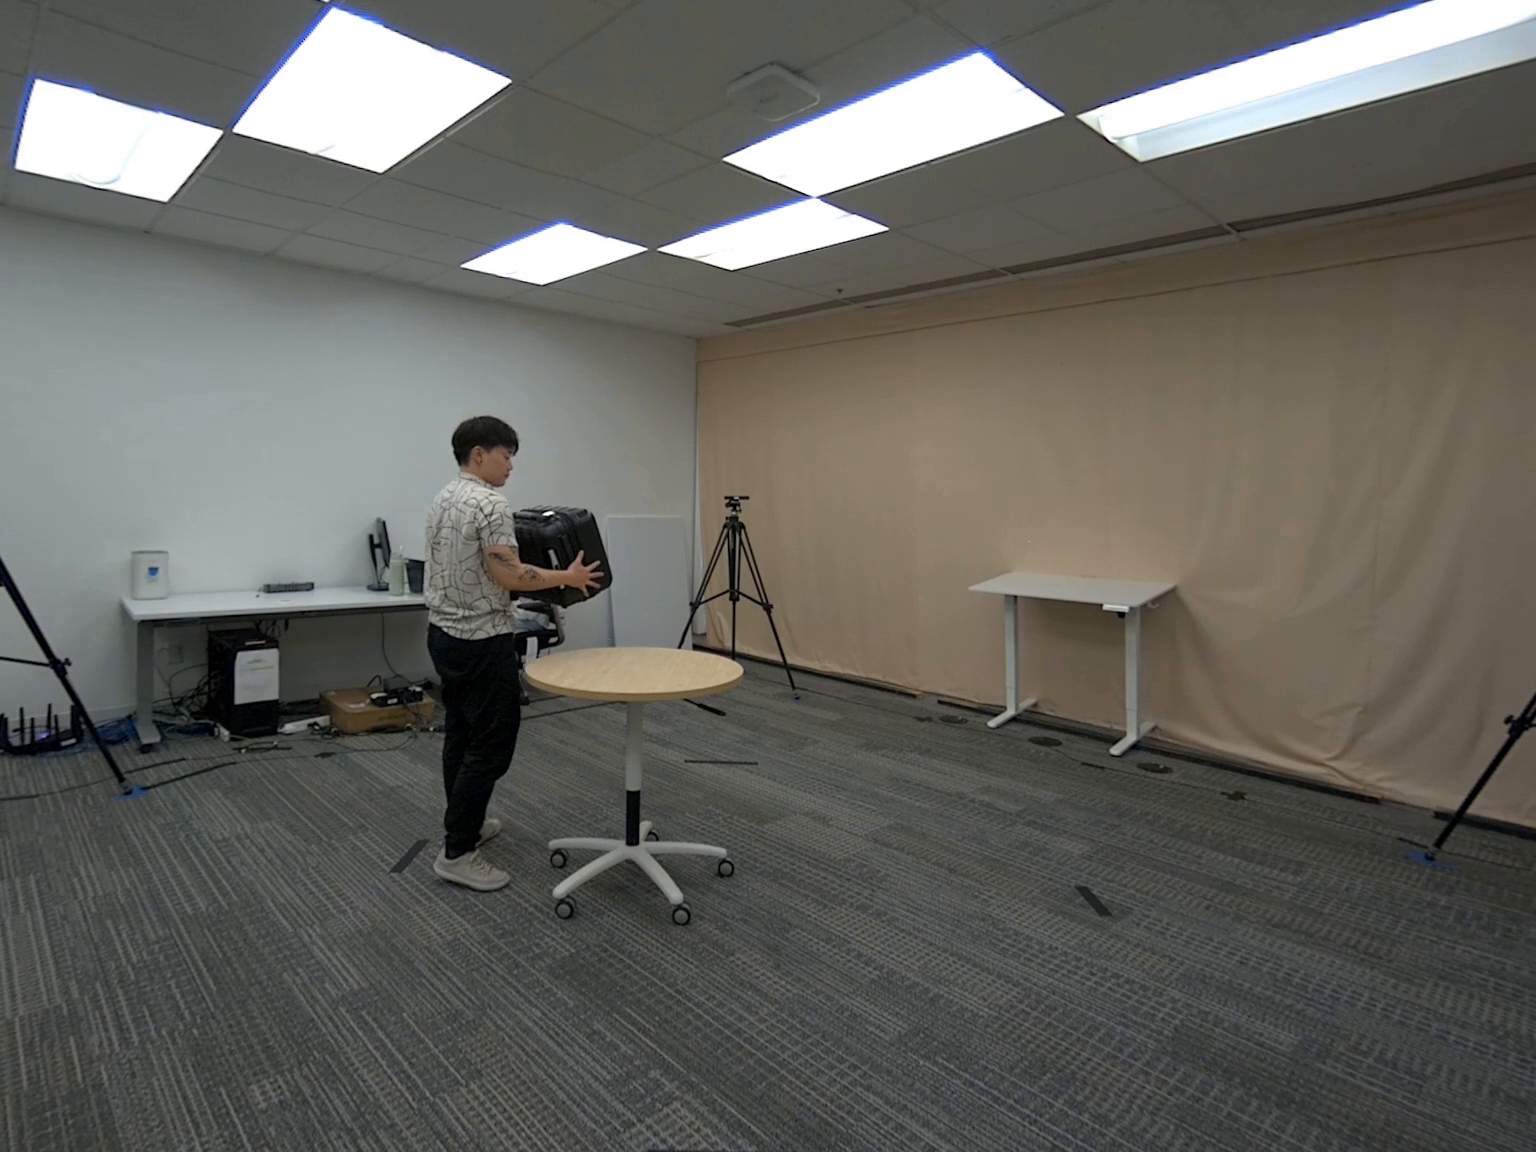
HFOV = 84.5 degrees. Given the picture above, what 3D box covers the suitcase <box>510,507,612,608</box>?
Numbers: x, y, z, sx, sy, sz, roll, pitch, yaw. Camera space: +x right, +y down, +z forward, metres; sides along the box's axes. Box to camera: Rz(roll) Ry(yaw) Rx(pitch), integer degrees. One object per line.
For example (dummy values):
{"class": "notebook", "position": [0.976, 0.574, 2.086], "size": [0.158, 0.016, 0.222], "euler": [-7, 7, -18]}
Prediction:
{"class": "suitcase", "position": [-0.895, -0.092, 3.418], "size": [0.245, 0.370, 0.563], "euler": [-24, 19, -36]}
